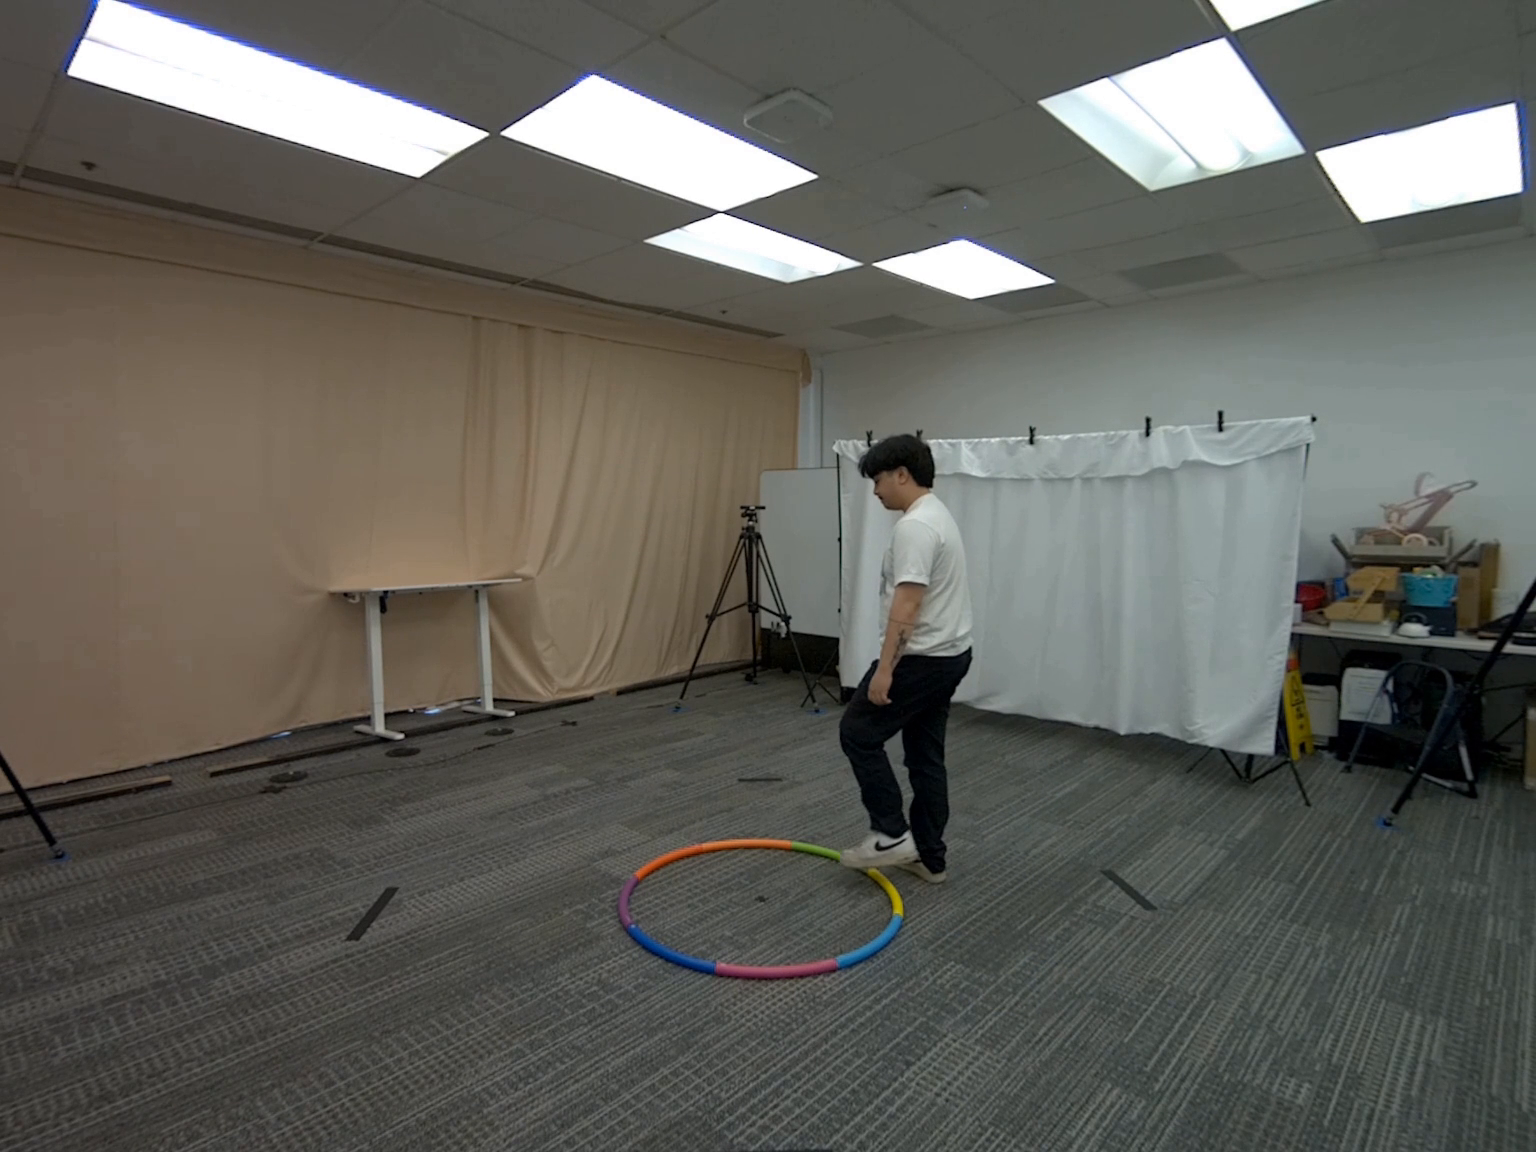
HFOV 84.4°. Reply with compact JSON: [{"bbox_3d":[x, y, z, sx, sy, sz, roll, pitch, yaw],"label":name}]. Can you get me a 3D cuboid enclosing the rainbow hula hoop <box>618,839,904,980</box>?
[{"bbox_3d":[-0.027,1.125,2.954,0.985,0.051,0.989,0,4,-2],"label":"rainbow hula hoop"}]
